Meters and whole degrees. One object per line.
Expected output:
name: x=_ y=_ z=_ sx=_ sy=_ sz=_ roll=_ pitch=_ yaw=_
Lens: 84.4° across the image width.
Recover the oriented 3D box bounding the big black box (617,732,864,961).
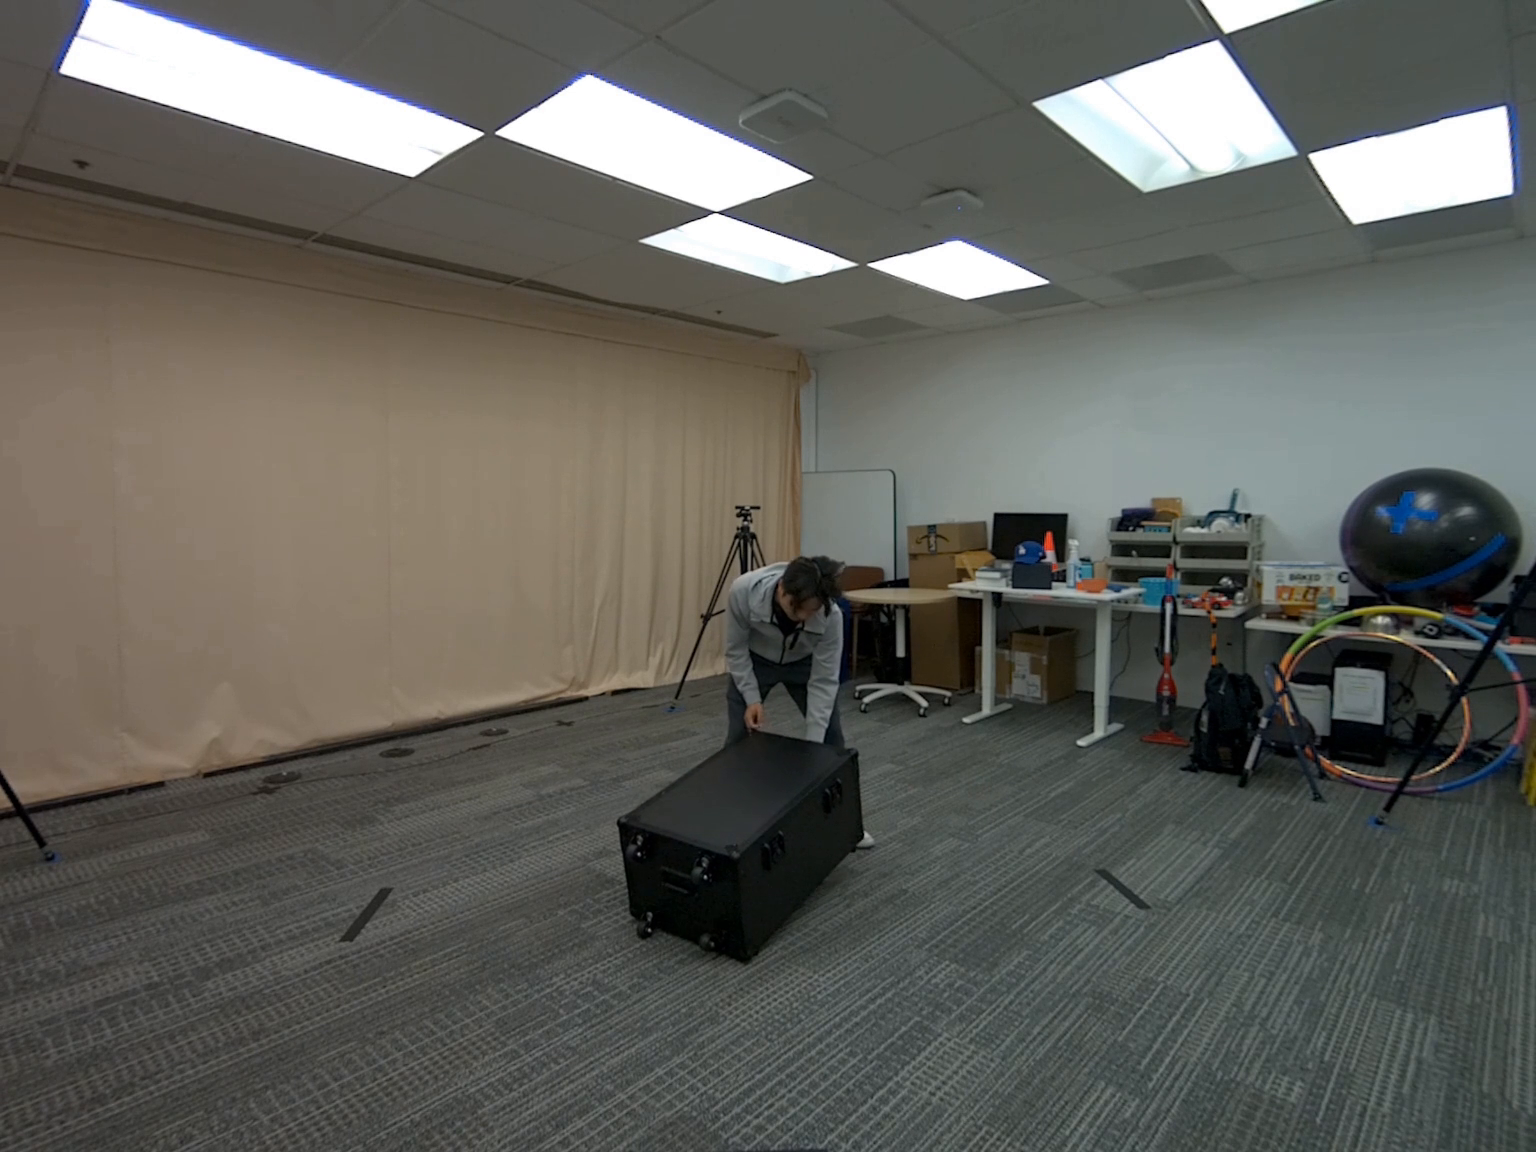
big black box: x=-0.088 y=0.912 z=2.931 sx=0.538 sy=0.393 sz=0.842 roll=3 pitch=15 yaw=35
